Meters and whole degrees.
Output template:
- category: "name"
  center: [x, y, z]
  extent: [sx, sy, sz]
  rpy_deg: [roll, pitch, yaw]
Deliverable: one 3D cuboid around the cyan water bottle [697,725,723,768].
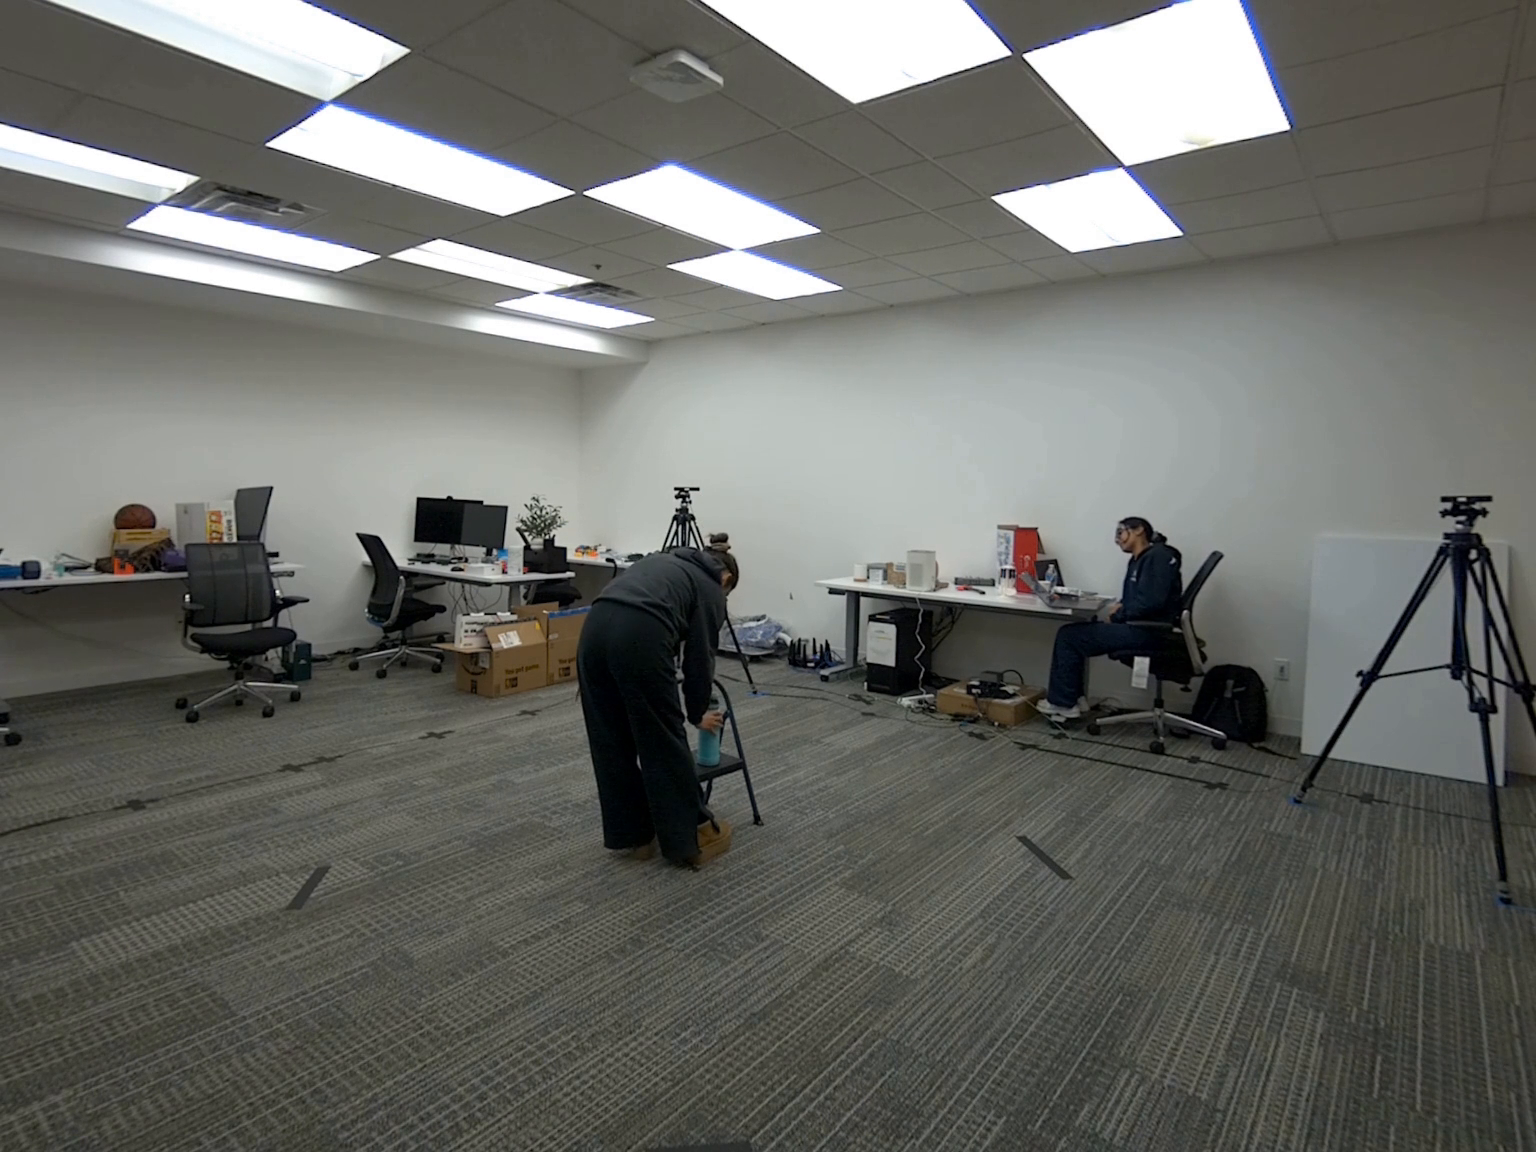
- category: "cyan water bottle"
  center: [-0.246, 0.631, 3.500]
  extent: [0.092, 0.282, 0.093]
  rpy_deg: [2, 3, -2]
